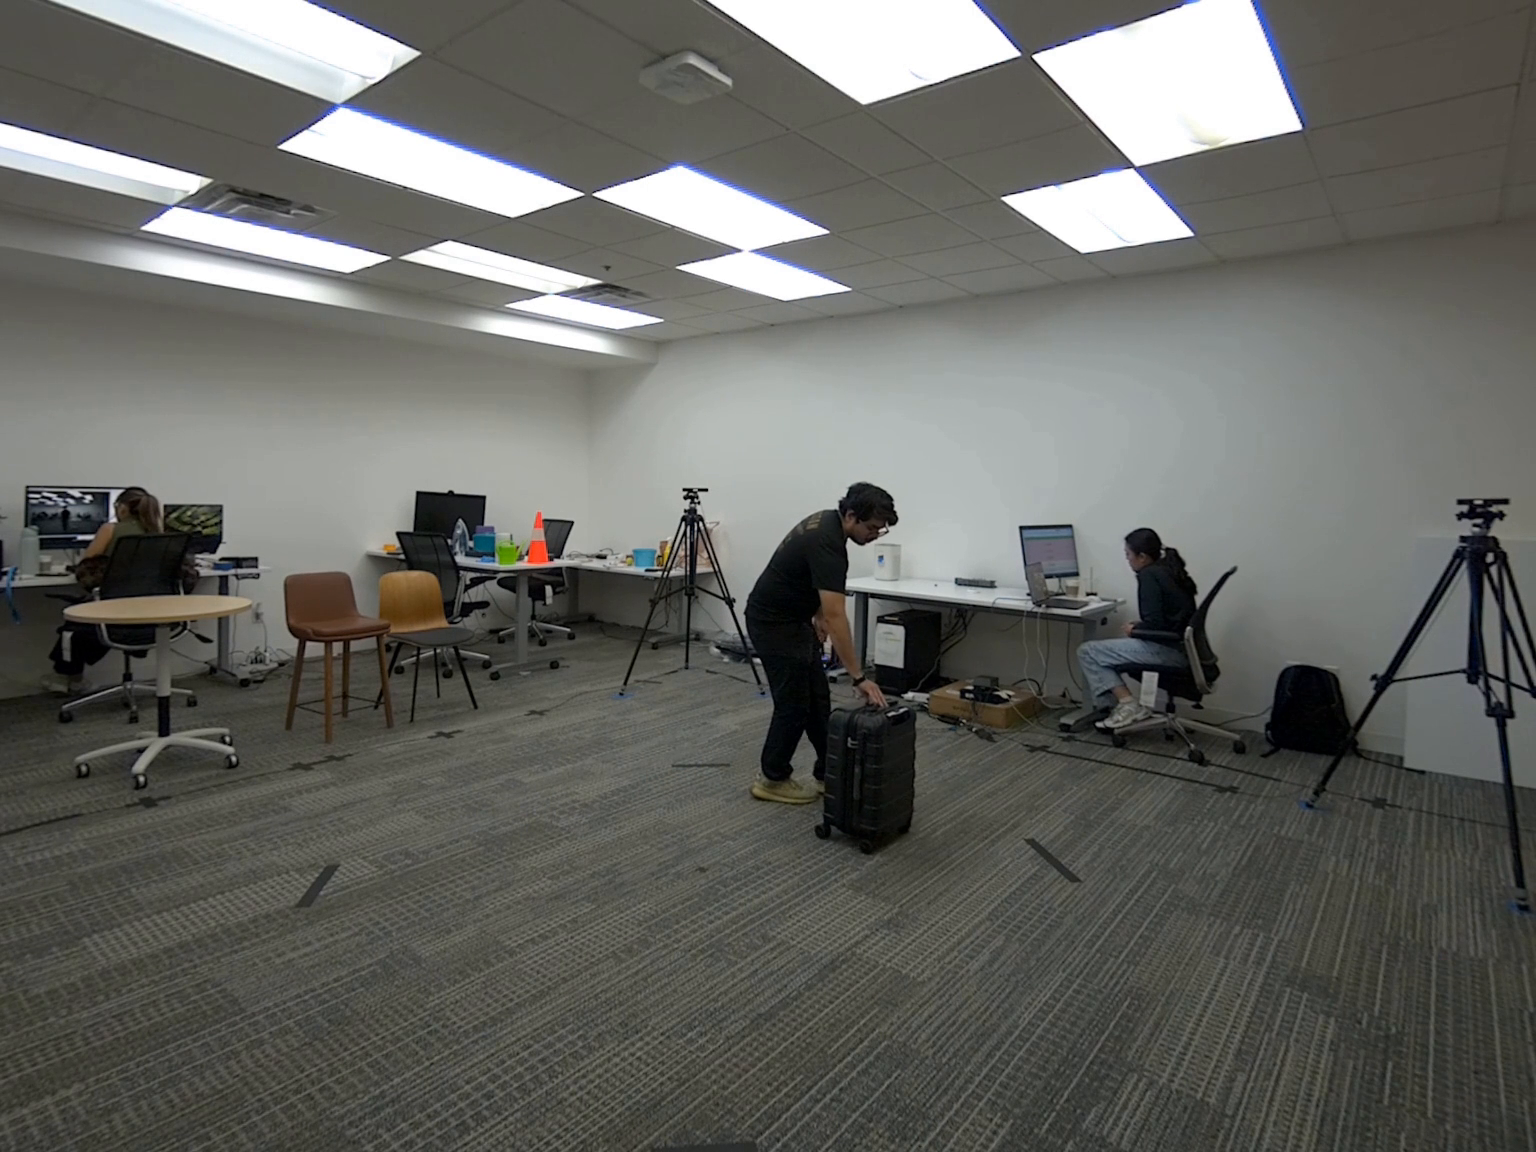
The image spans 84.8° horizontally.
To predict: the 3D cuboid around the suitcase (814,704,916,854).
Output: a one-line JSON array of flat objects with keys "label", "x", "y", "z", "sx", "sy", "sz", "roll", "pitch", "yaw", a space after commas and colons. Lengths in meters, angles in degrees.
[{"label": "suitcase", "x": 0.408, "y": 0.772, "z": 3.443, "sx": 0.257, "sy": 0.547, "sz": 0.364, "roll": 5, "pitch": 5, "yaw": 37}]
